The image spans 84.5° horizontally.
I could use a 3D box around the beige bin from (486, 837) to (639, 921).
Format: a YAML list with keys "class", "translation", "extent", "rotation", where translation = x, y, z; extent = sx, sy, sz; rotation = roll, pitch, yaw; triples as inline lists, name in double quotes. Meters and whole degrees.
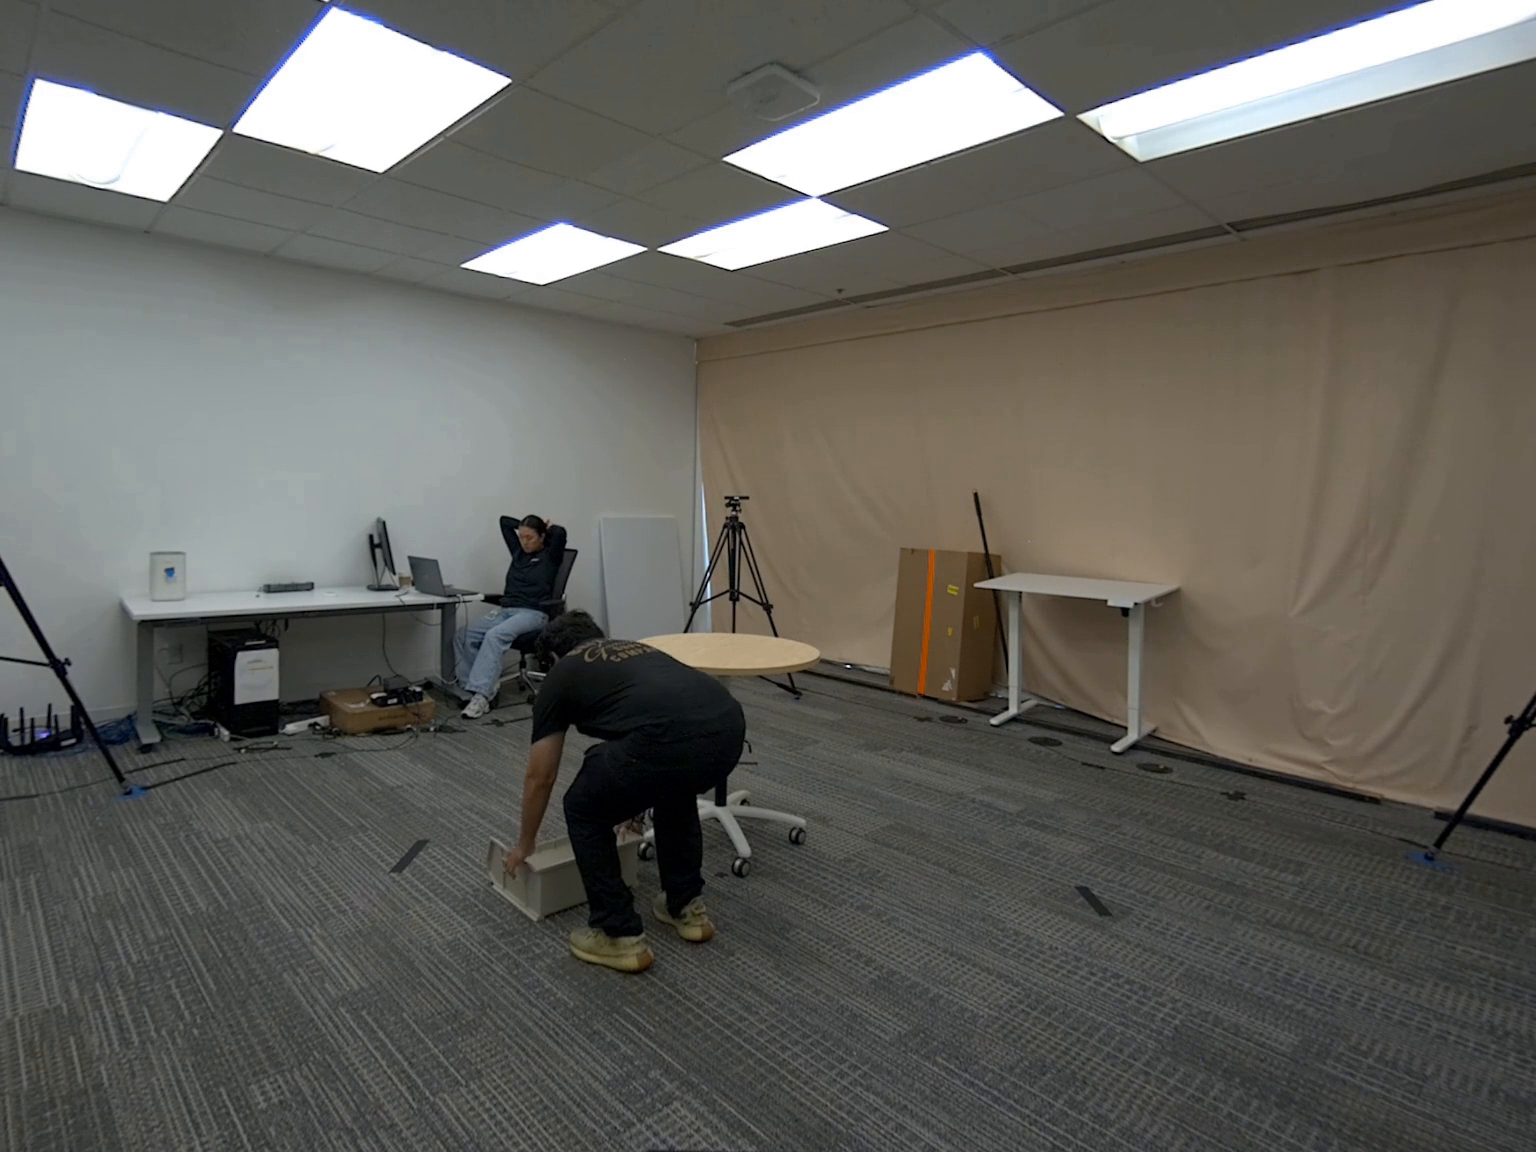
- class: "beige bin"
  translation: [-0.725, 1.007, 2.995]
  extent: [0.413, 0.188, 0.387]
  rotation: [-3, 7, -43]
